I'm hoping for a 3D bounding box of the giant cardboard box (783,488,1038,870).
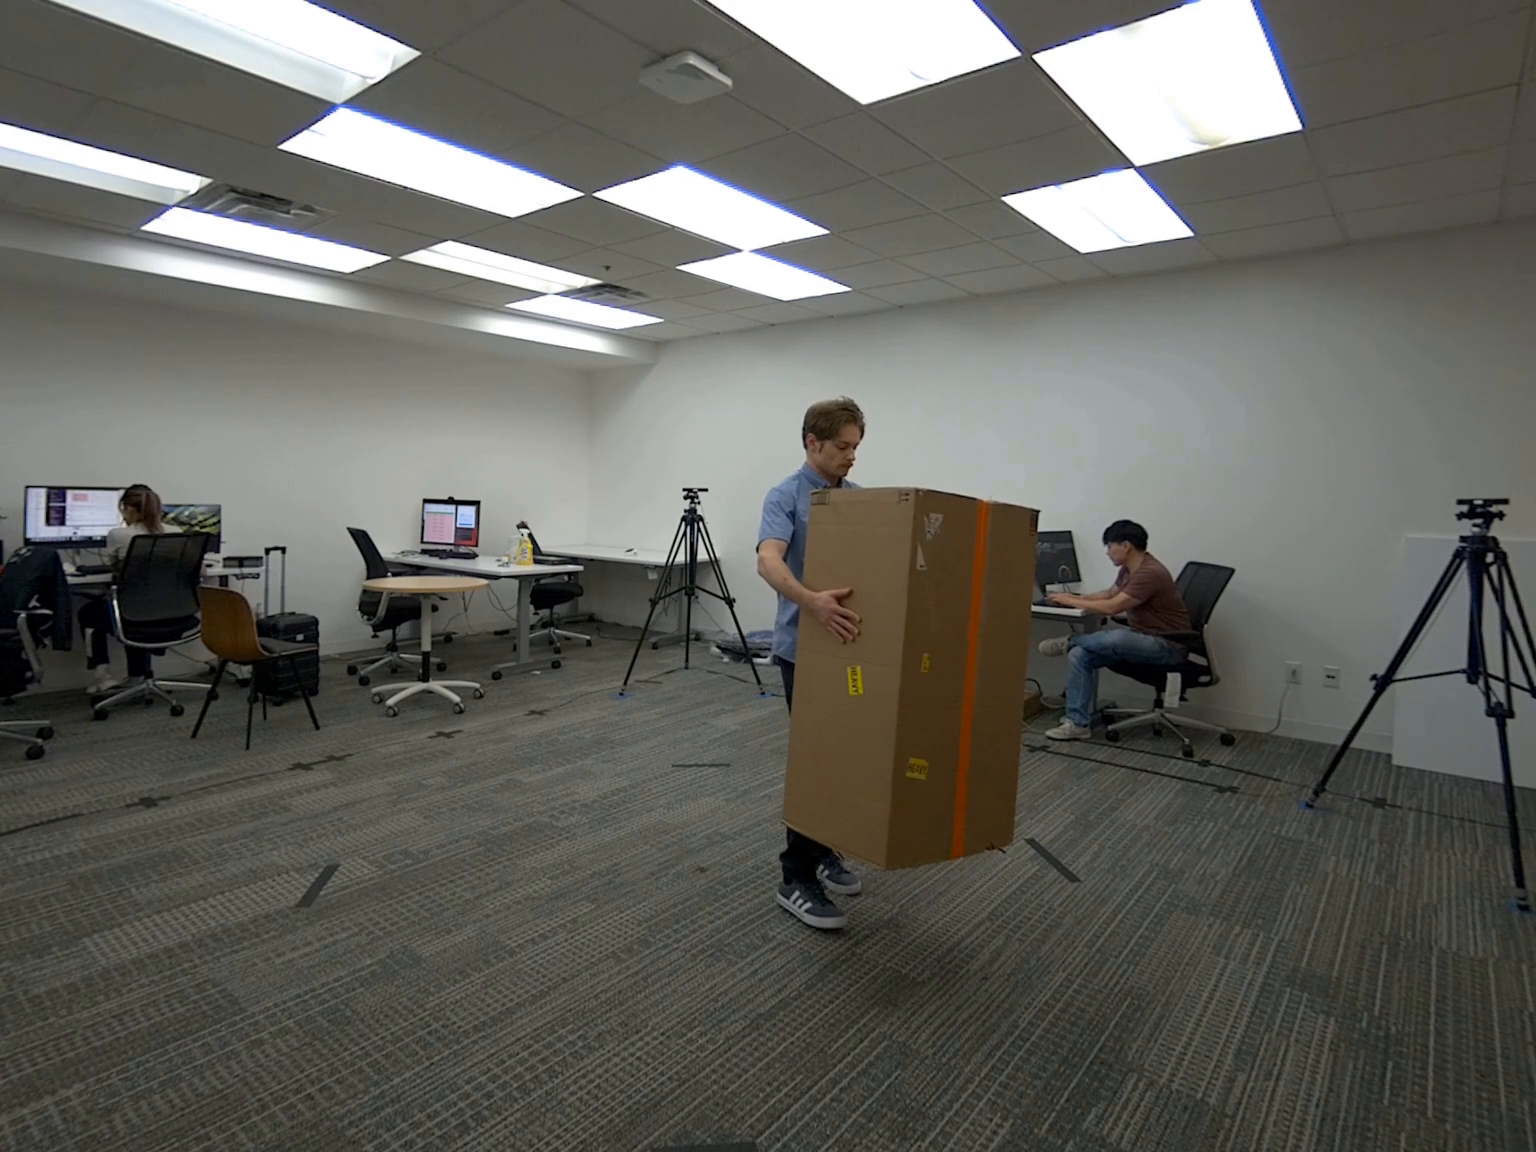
[{"bbox_3d":[0.433,0.275,2.584,0.558,1.027,0.440,5,-2,-38],"label":"giant cardboard box"}]
